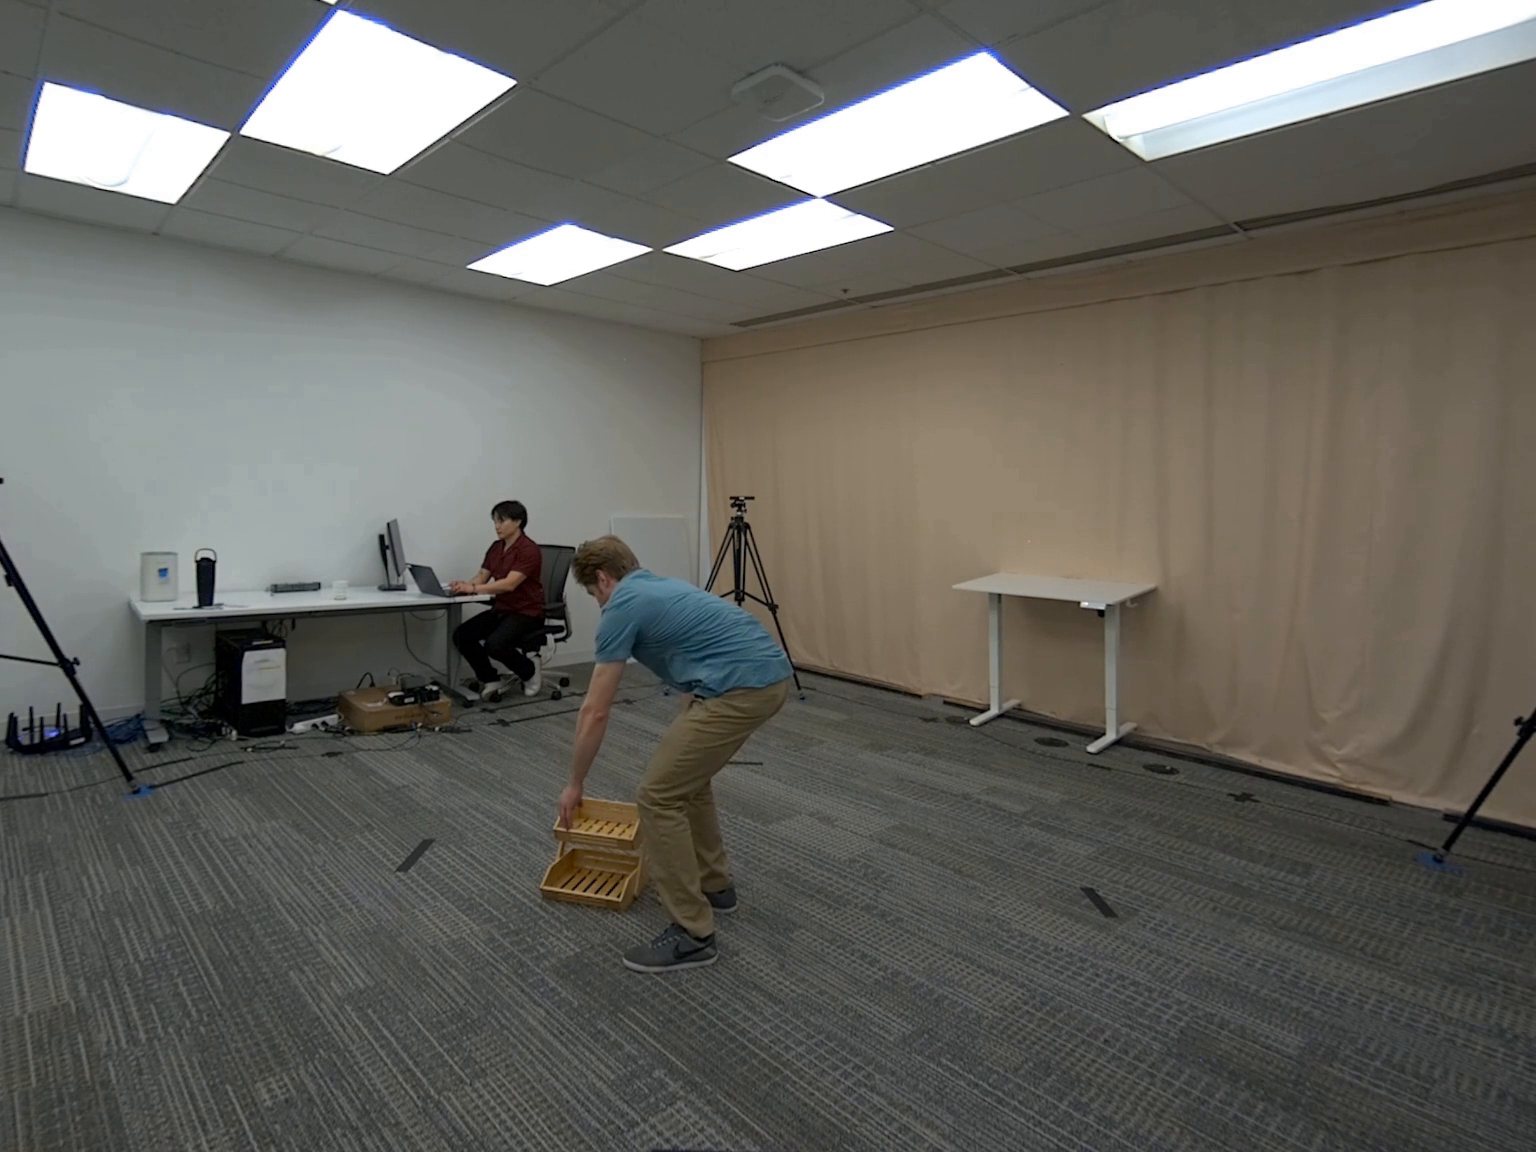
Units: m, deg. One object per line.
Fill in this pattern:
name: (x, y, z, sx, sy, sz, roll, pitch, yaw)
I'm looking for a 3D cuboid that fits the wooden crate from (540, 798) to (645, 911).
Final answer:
wooden crate: (-0.604, 0.975, 2.964, 0.328, 0.272, 0.299, 3, 4, 14)
